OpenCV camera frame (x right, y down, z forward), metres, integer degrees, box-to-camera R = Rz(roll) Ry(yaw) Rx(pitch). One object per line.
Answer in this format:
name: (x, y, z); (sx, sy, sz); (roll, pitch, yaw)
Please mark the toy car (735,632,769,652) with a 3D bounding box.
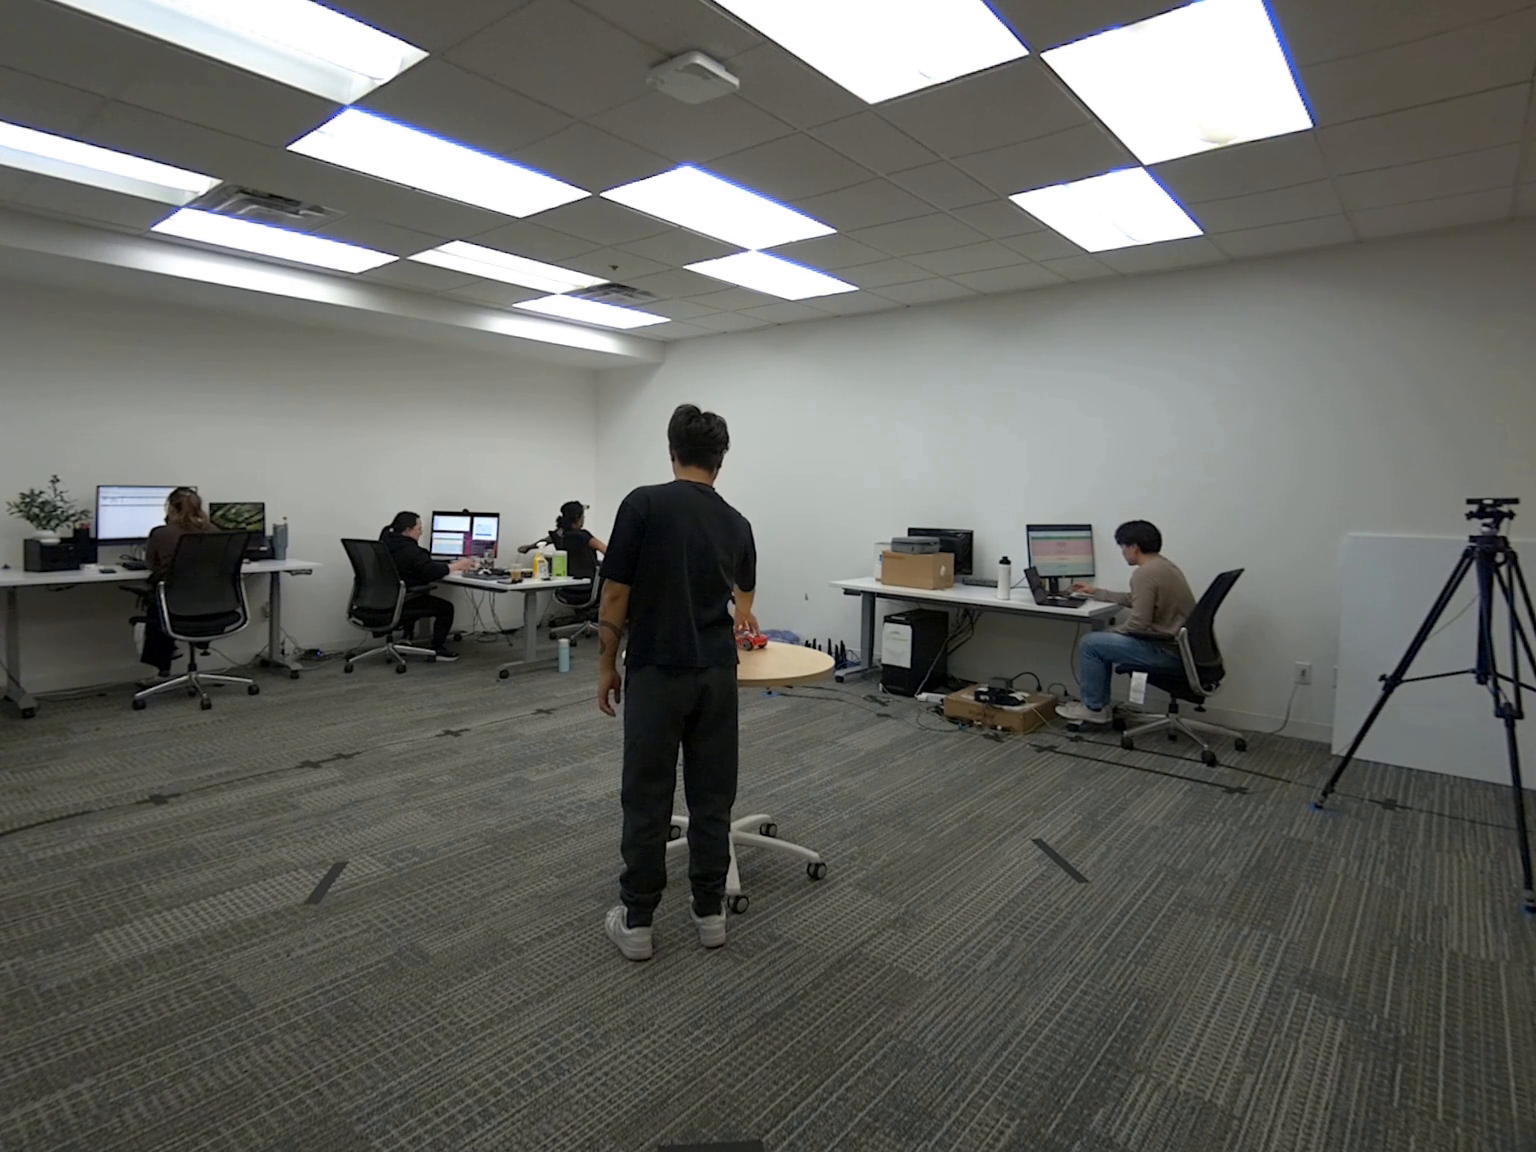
toy car: (-0.137, 0.237, 3.306); (0.264, 0.082, 0.126); (19, 14, 36)
